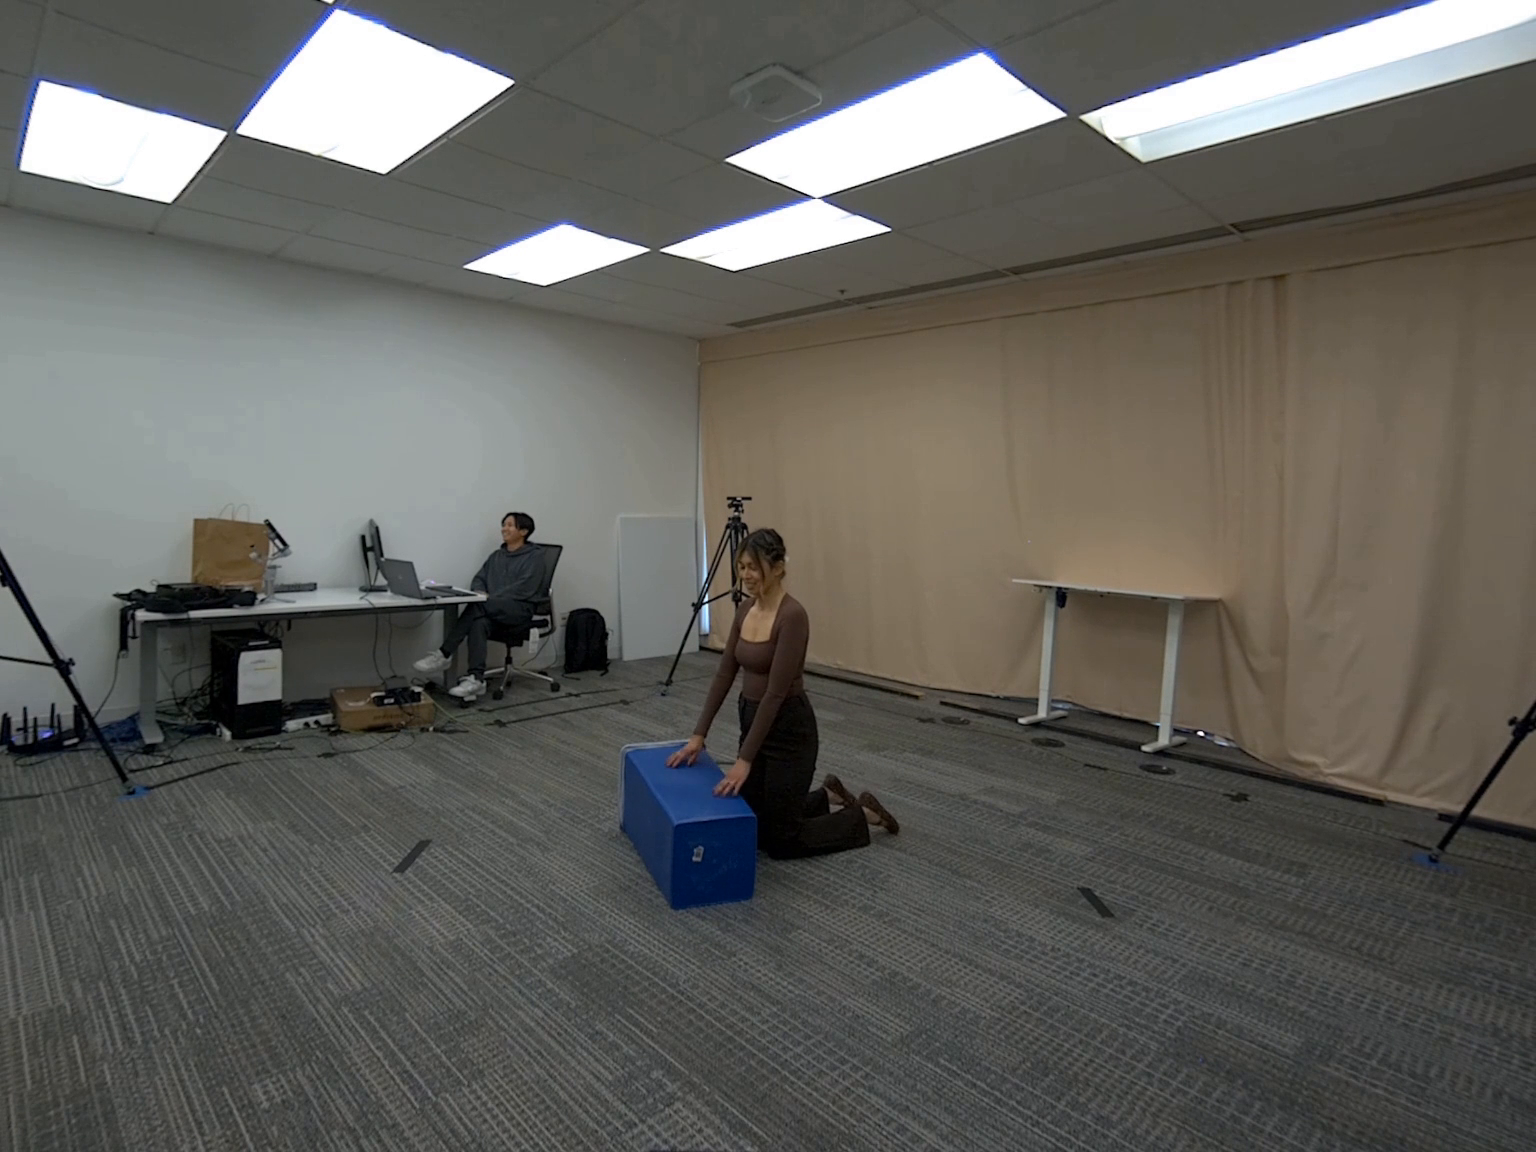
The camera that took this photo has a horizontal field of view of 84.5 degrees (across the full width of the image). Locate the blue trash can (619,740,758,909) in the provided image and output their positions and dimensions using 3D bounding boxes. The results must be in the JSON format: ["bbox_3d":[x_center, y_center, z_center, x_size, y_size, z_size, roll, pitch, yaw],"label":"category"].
[{"bbox_3d":[-0.321,0.918,3.196,0.368,0.377,0.727,1,6,-20],"label":"blue trash can"}]
